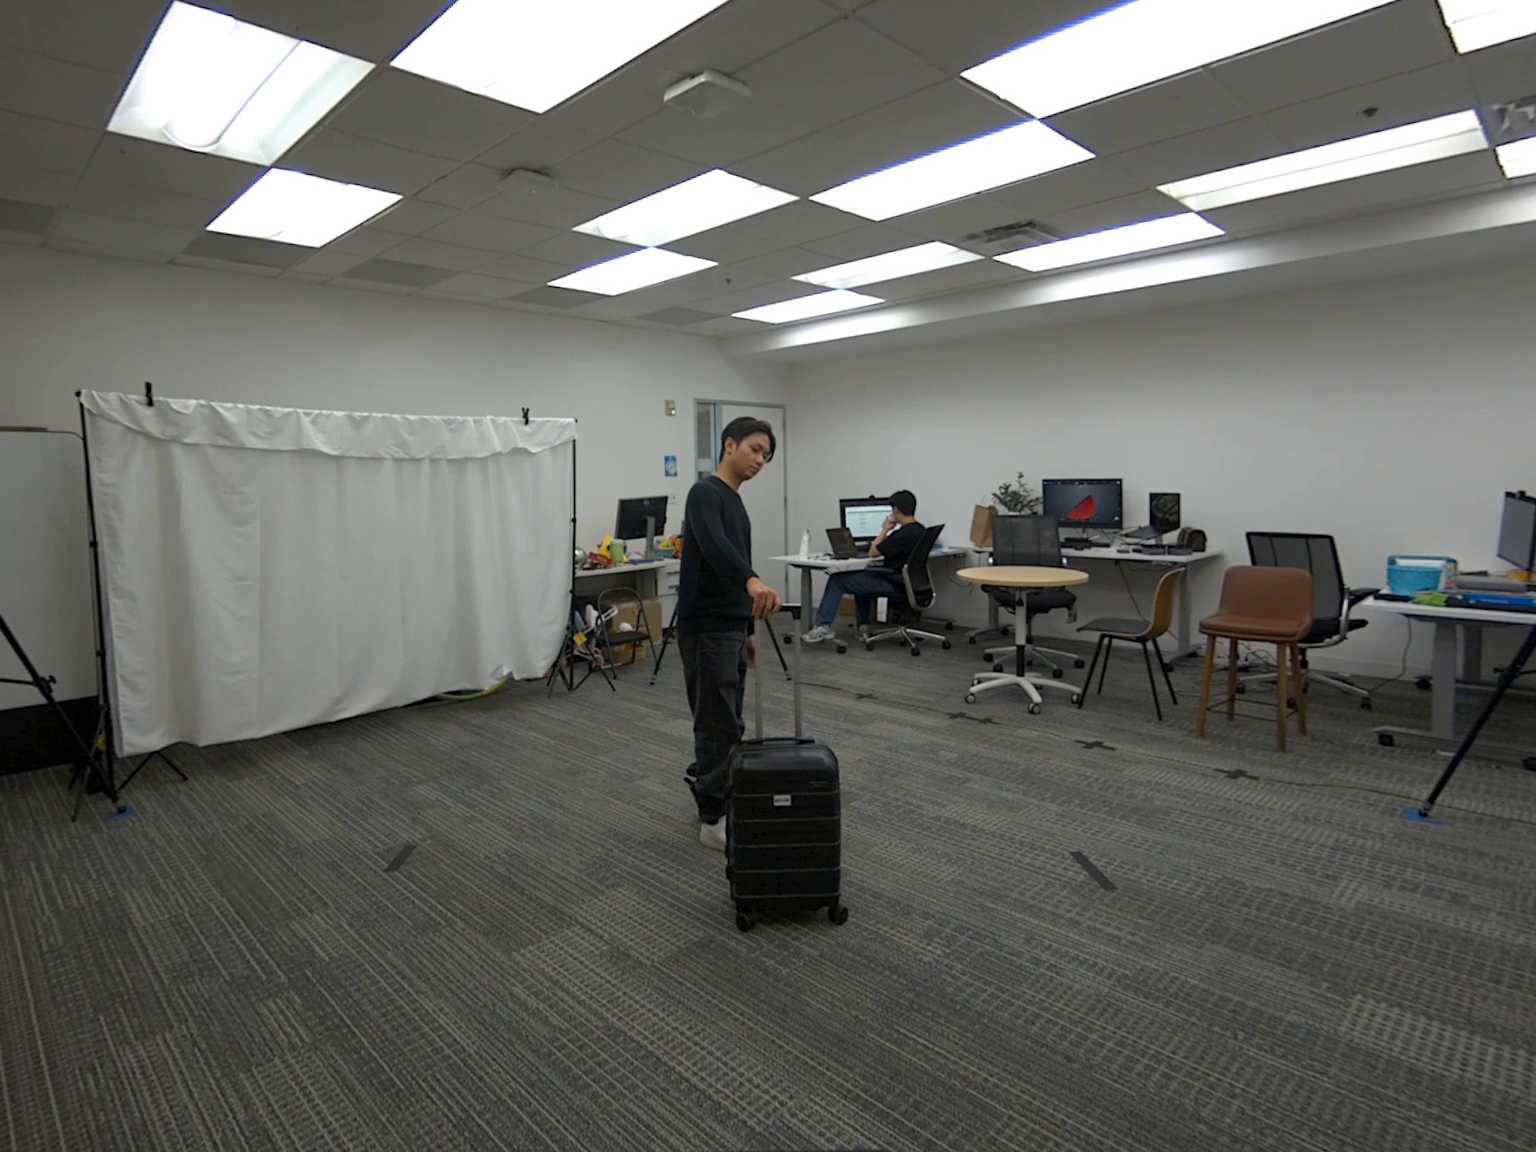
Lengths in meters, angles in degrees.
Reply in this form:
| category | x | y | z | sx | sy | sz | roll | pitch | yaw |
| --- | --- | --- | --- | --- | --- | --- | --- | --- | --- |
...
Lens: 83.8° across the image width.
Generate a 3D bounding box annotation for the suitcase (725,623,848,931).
| category | x | y | z | sx | sy | sz | roll | pitch | yaw |
| --- | --- | --- | --- | --- | --- | --- | --- | --- | --- |
| suitcase | 0.048 | 0.603 | 2.732 | 0.384 | 0.973 | 0.258 | -1 | 6 | -1 |
